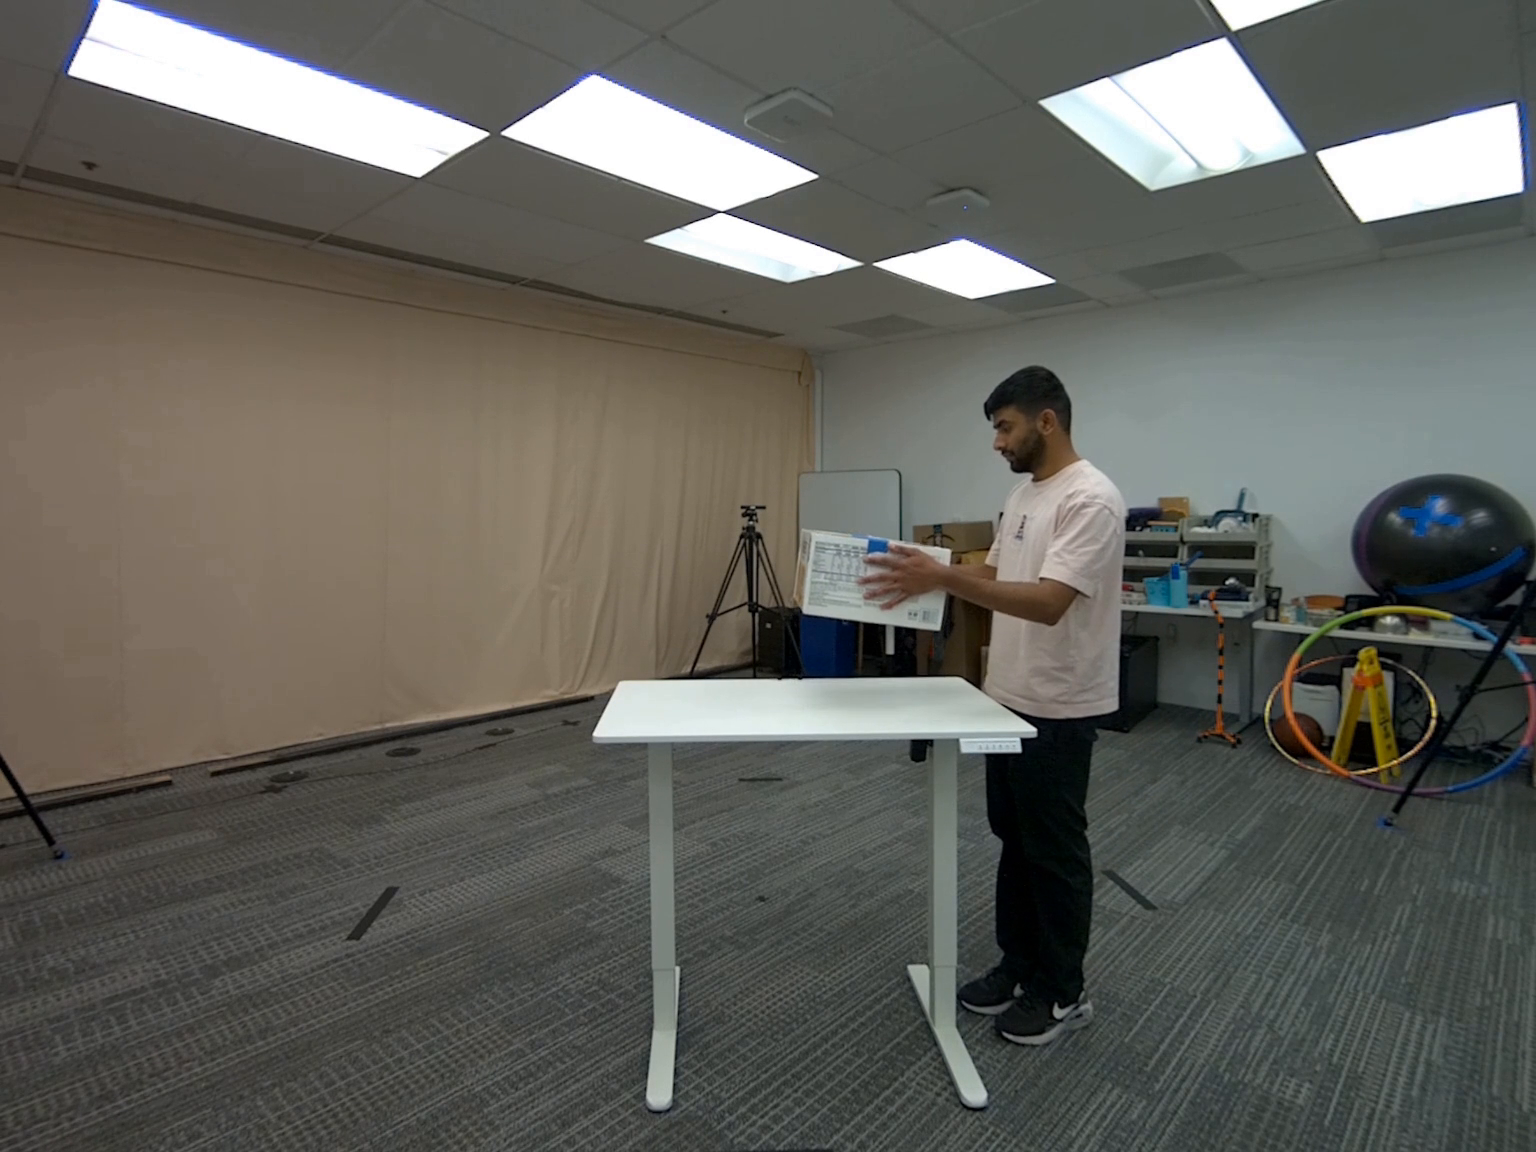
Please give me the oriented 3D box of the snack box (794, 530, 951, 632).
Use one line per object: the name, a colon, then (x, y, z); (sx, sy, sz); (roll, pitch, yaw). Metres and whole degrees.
snack box: (0.268, 0.009, 2.242); (0.341, 0.205, 0.405); (6, 3, 0)
